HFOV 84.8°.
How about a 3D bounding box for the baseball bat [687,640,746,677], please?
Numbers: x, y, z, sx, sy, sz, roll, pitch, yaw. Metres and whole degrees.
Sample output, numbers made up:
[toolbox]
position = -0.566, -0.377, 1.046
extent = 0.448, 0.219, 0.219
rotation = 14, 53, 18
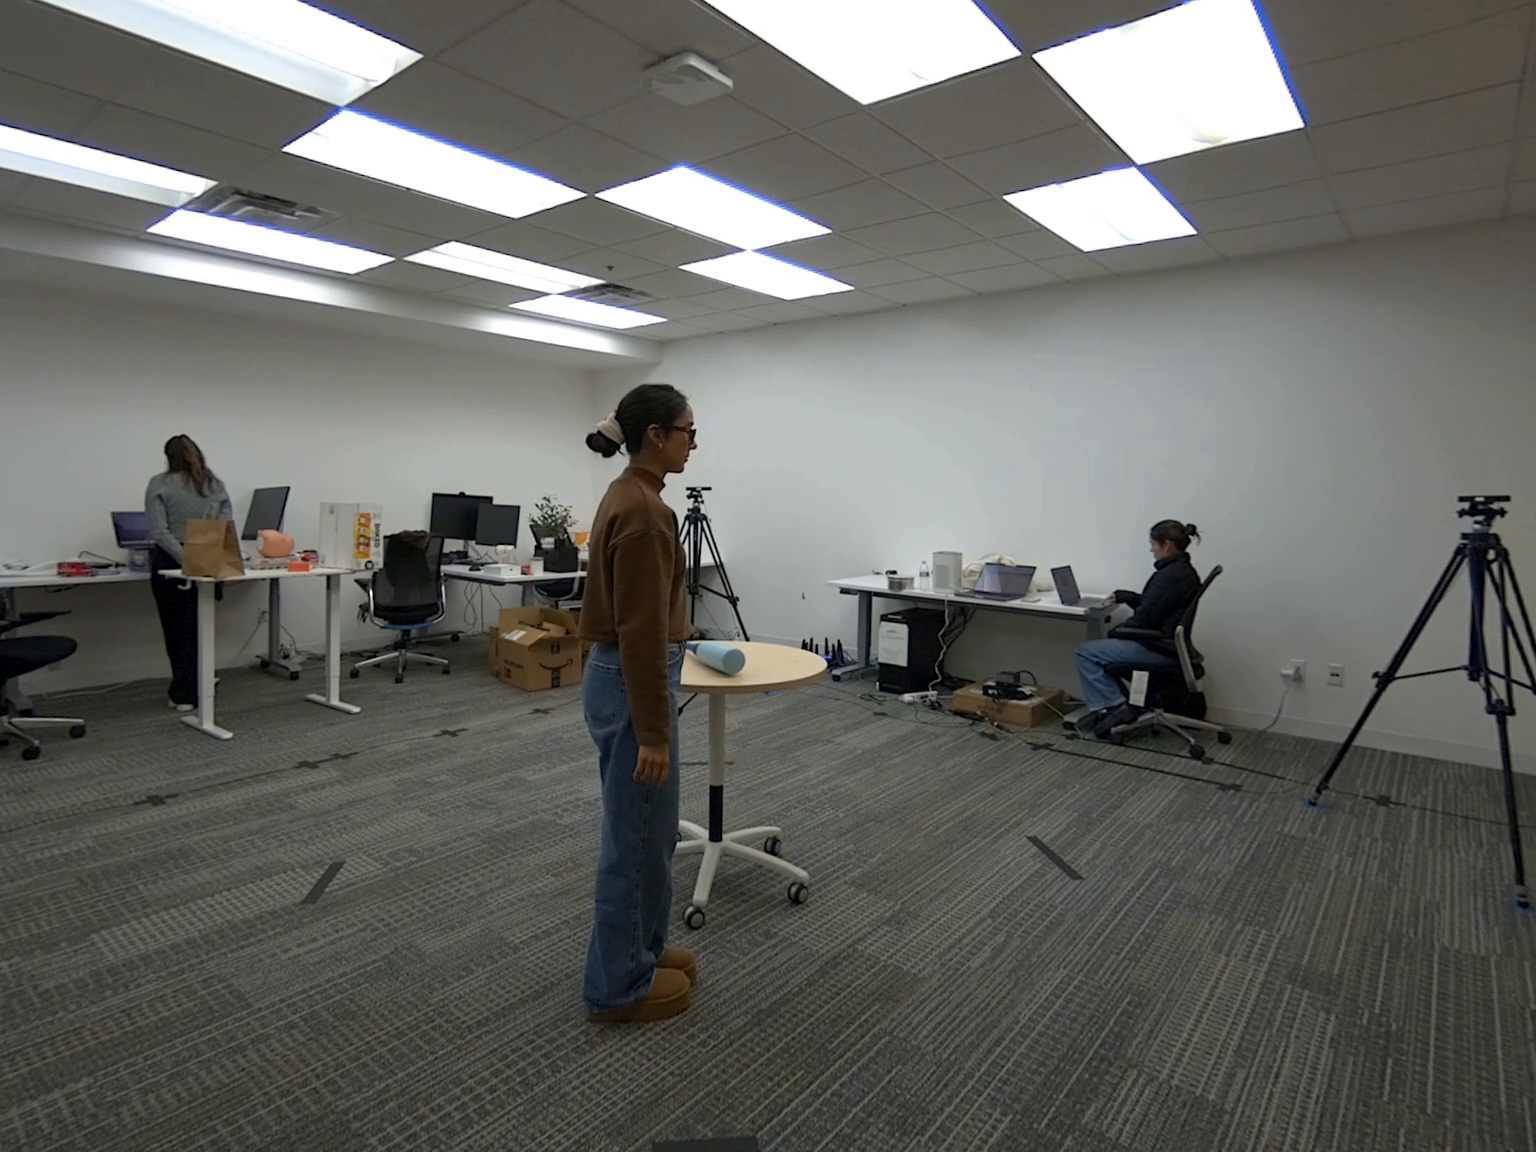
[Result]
[baseball bat]
position = -0.238, 0.263, 2.960
extent = 0.087, 0.089, 0.557
rotation = -1, 3, -27
